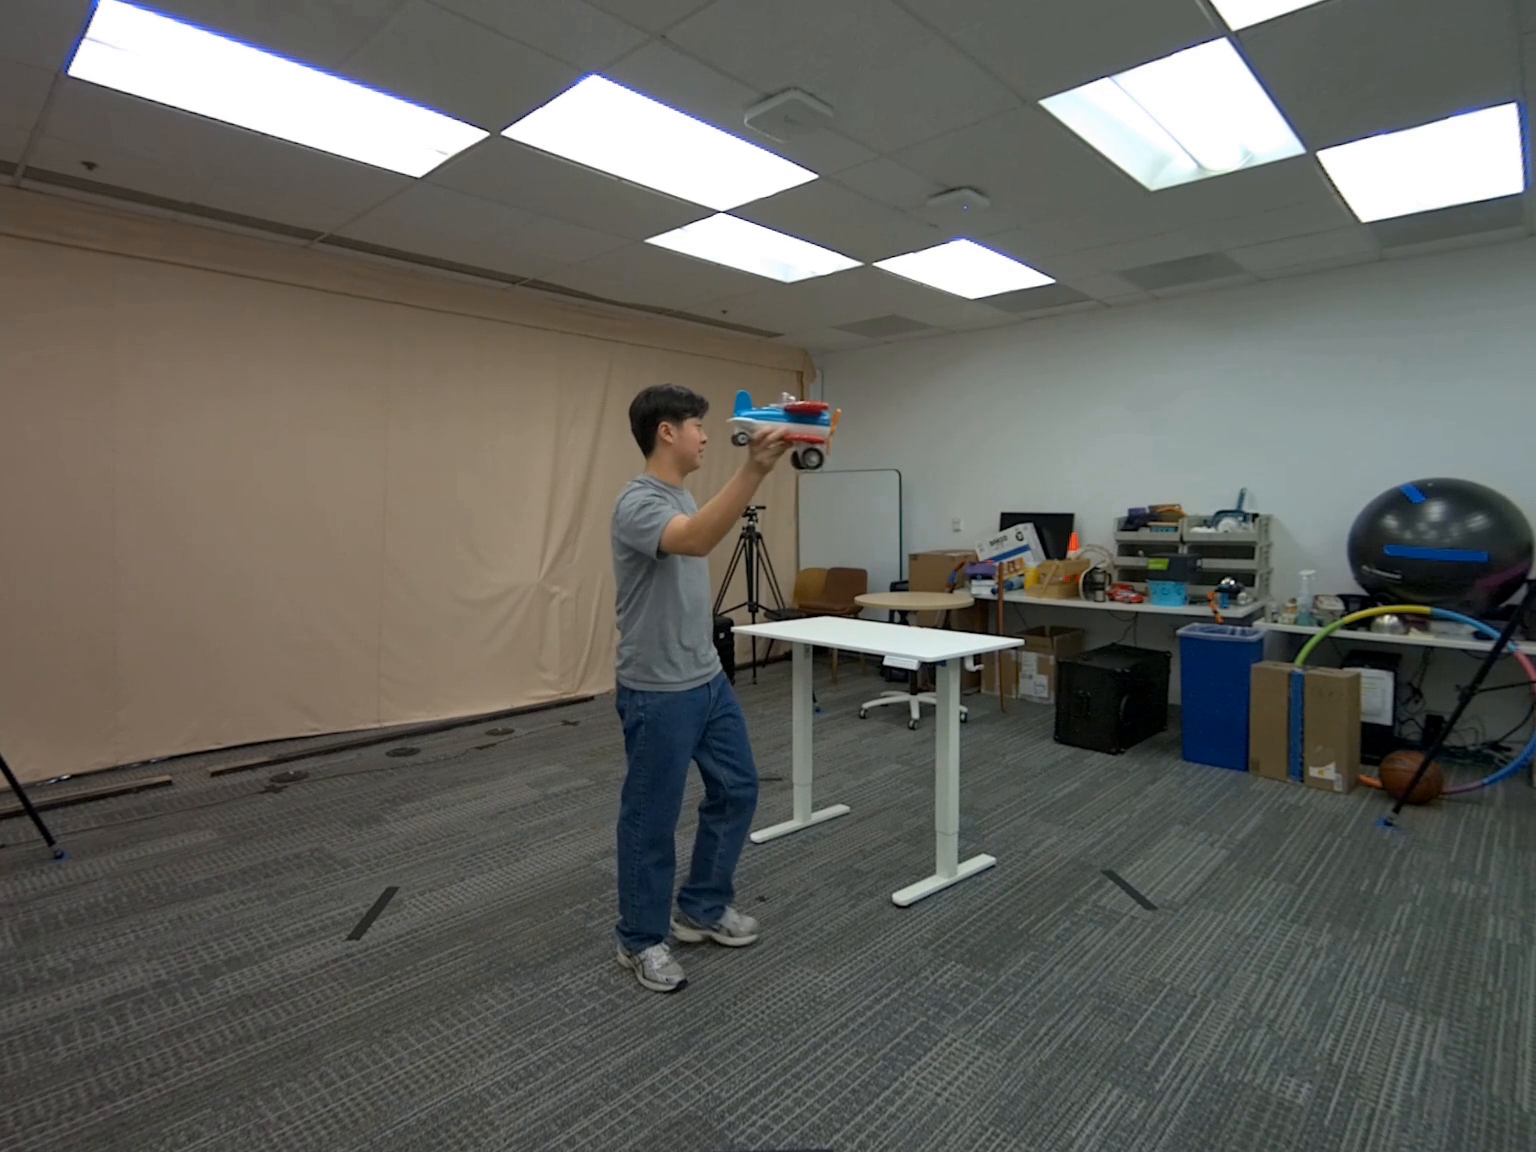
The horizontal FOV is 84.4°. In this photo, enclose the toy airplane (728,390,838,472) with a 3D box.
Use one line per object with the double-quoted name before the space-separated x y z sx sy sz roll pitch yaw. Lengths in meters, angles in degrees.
"toy airplane" 0.044 -0.362 2.031 0.250 0.156 0.260 18 1 -41
